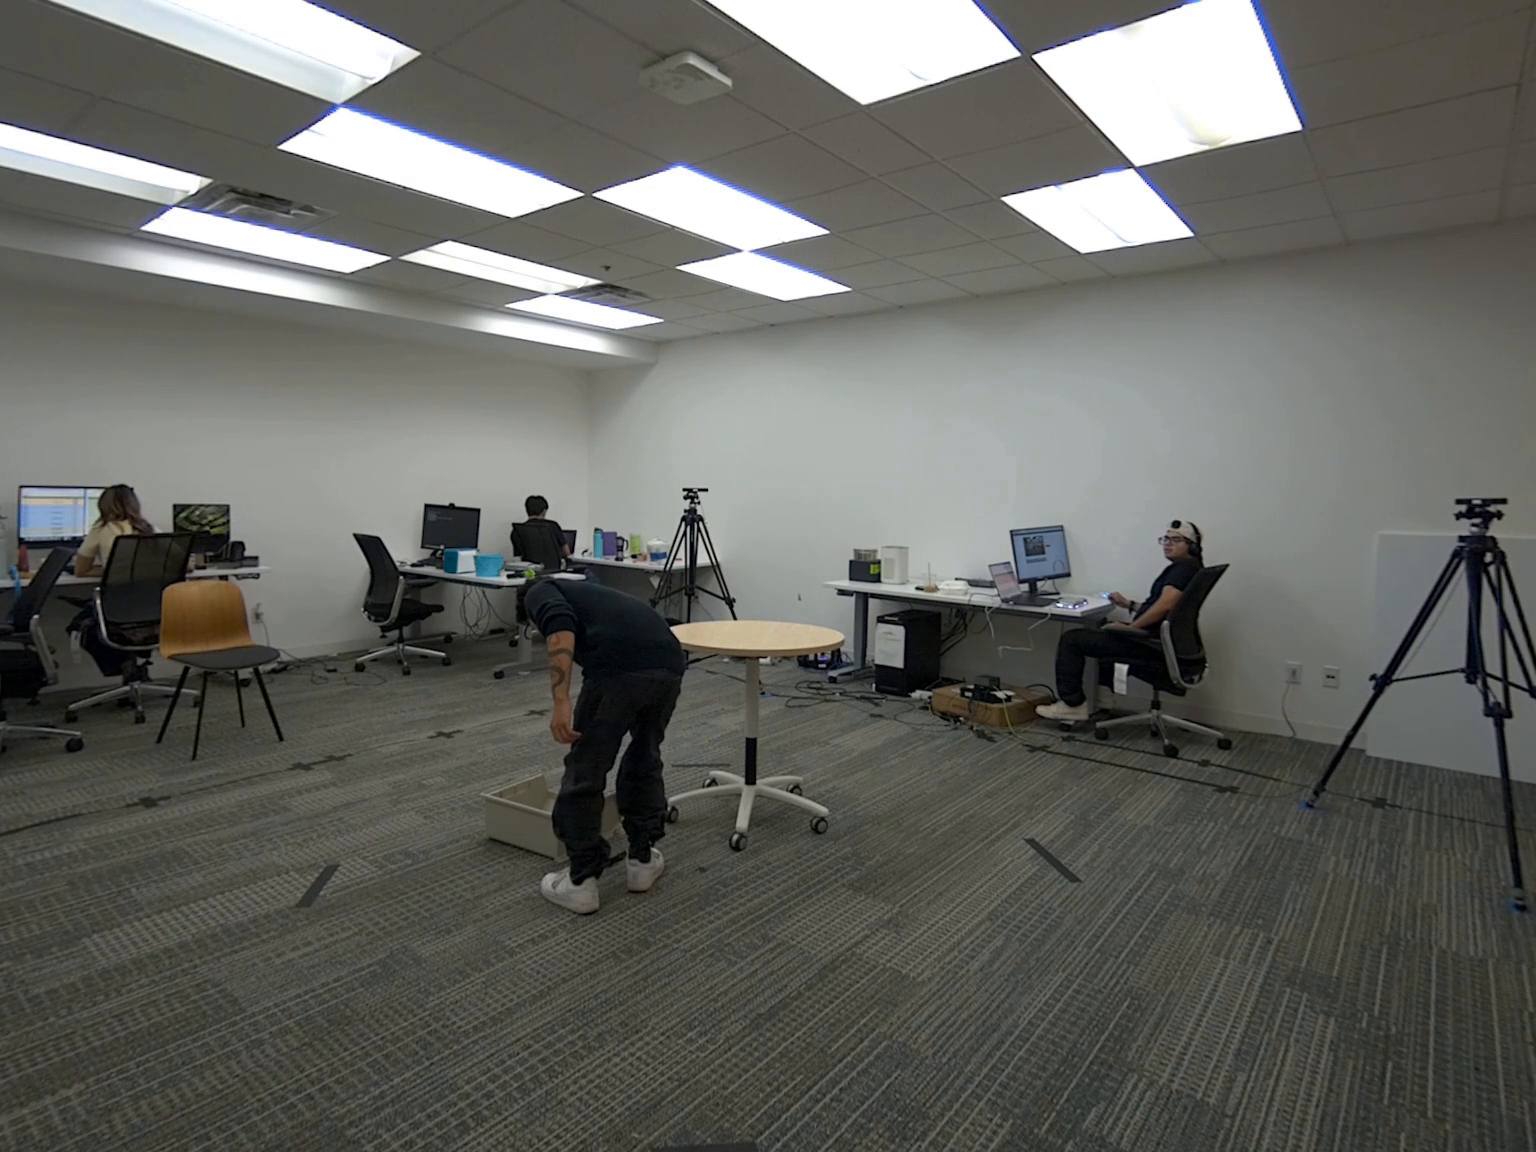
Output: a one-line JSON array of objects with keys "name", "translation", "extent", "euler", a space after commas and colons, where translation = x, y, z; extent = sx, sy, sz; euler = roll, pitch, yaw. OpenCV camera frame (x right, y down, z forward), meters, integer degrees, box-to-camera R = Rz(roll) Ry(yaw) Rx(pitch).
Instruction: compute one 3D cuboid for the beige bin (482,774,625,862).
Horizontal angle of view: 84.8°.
[{"name": "beige bin", "translation": [-0.876, 0.945, 3.387], "extent": [0.435, 0.188, 0.368], "euler": [4, 7, 30]}]
